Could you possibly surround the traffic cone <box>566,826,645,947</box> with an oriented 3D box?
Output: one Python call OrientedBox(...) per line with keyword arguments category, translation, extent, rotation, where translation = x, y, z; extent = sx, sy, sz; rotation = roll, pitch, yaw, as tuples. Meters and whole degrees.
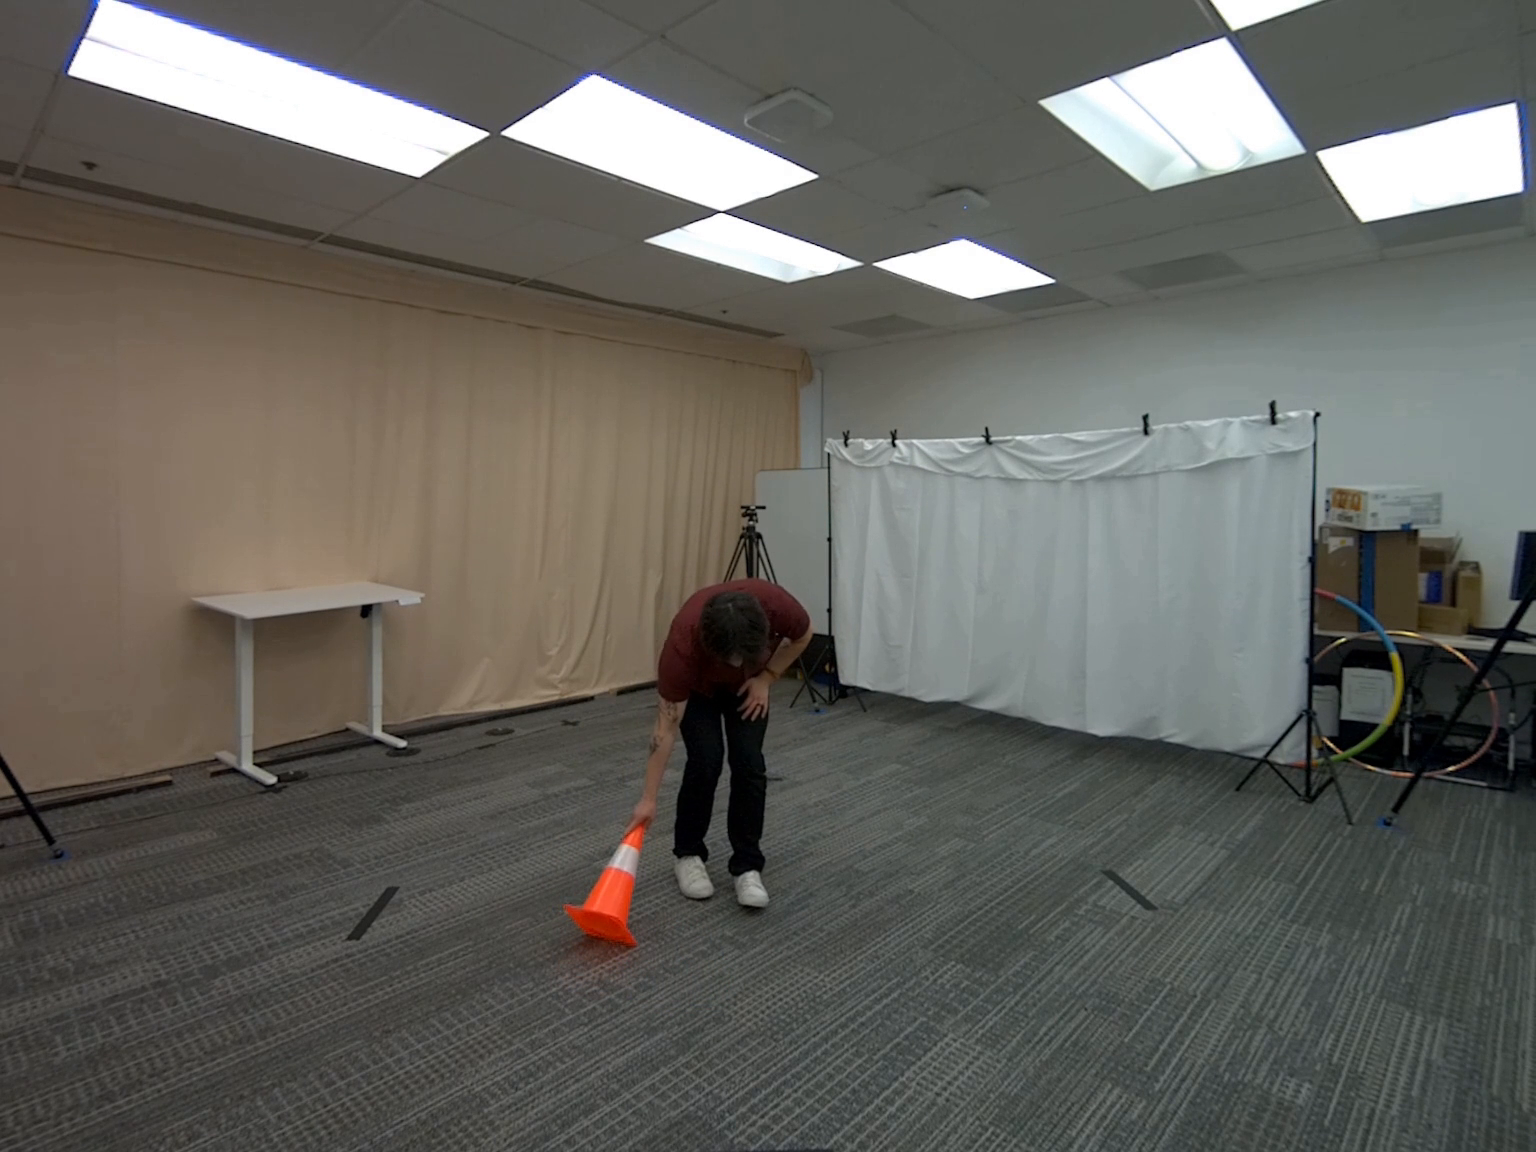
OrientedBox(category="traffic cone", translation=(-0.484, 0.970, 2.768), extent=(0.209, 0.197, 0.386), rotation=(-5, 43, 22))
